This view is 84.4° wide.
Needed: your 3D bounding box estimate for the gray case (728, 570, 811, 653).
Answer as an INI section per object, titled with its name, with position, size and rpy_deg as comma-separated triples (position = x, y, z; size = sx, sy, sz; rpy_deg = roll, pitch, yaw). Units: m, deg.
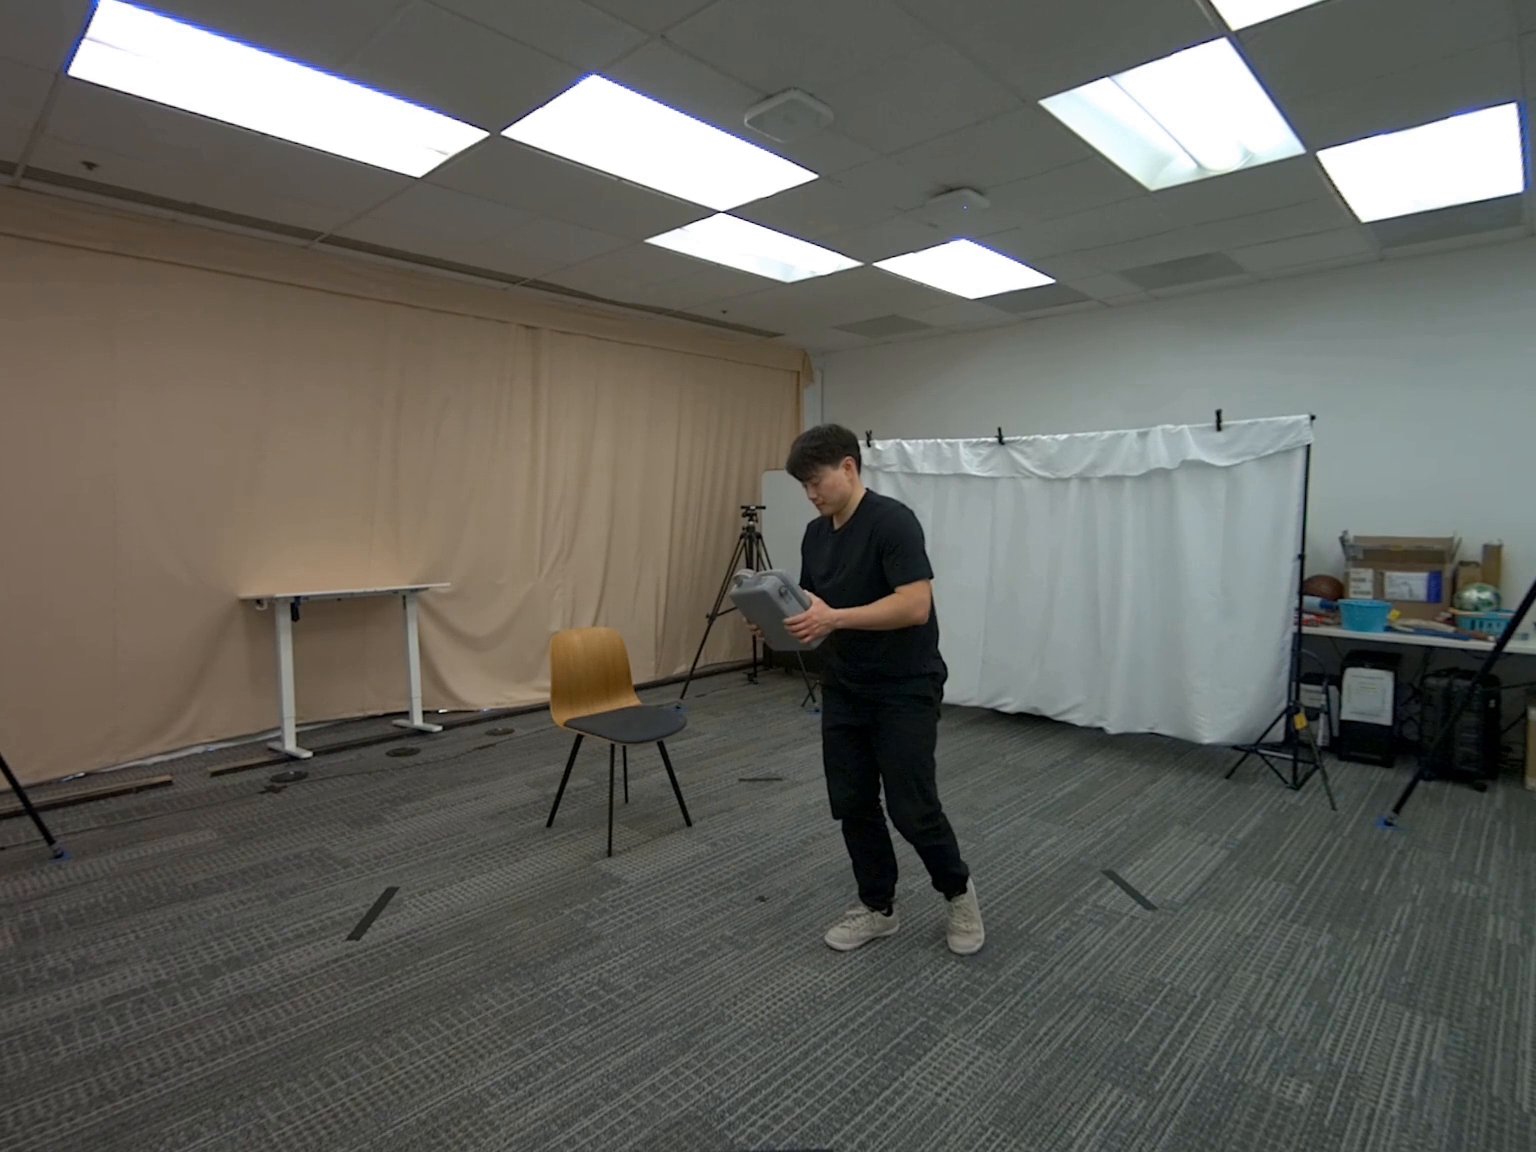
[gray case]
position = 0.032, 0.103, 2.514
size = 0.103, 0.257, 0.262
rpy_deg = -46, 15, -25
